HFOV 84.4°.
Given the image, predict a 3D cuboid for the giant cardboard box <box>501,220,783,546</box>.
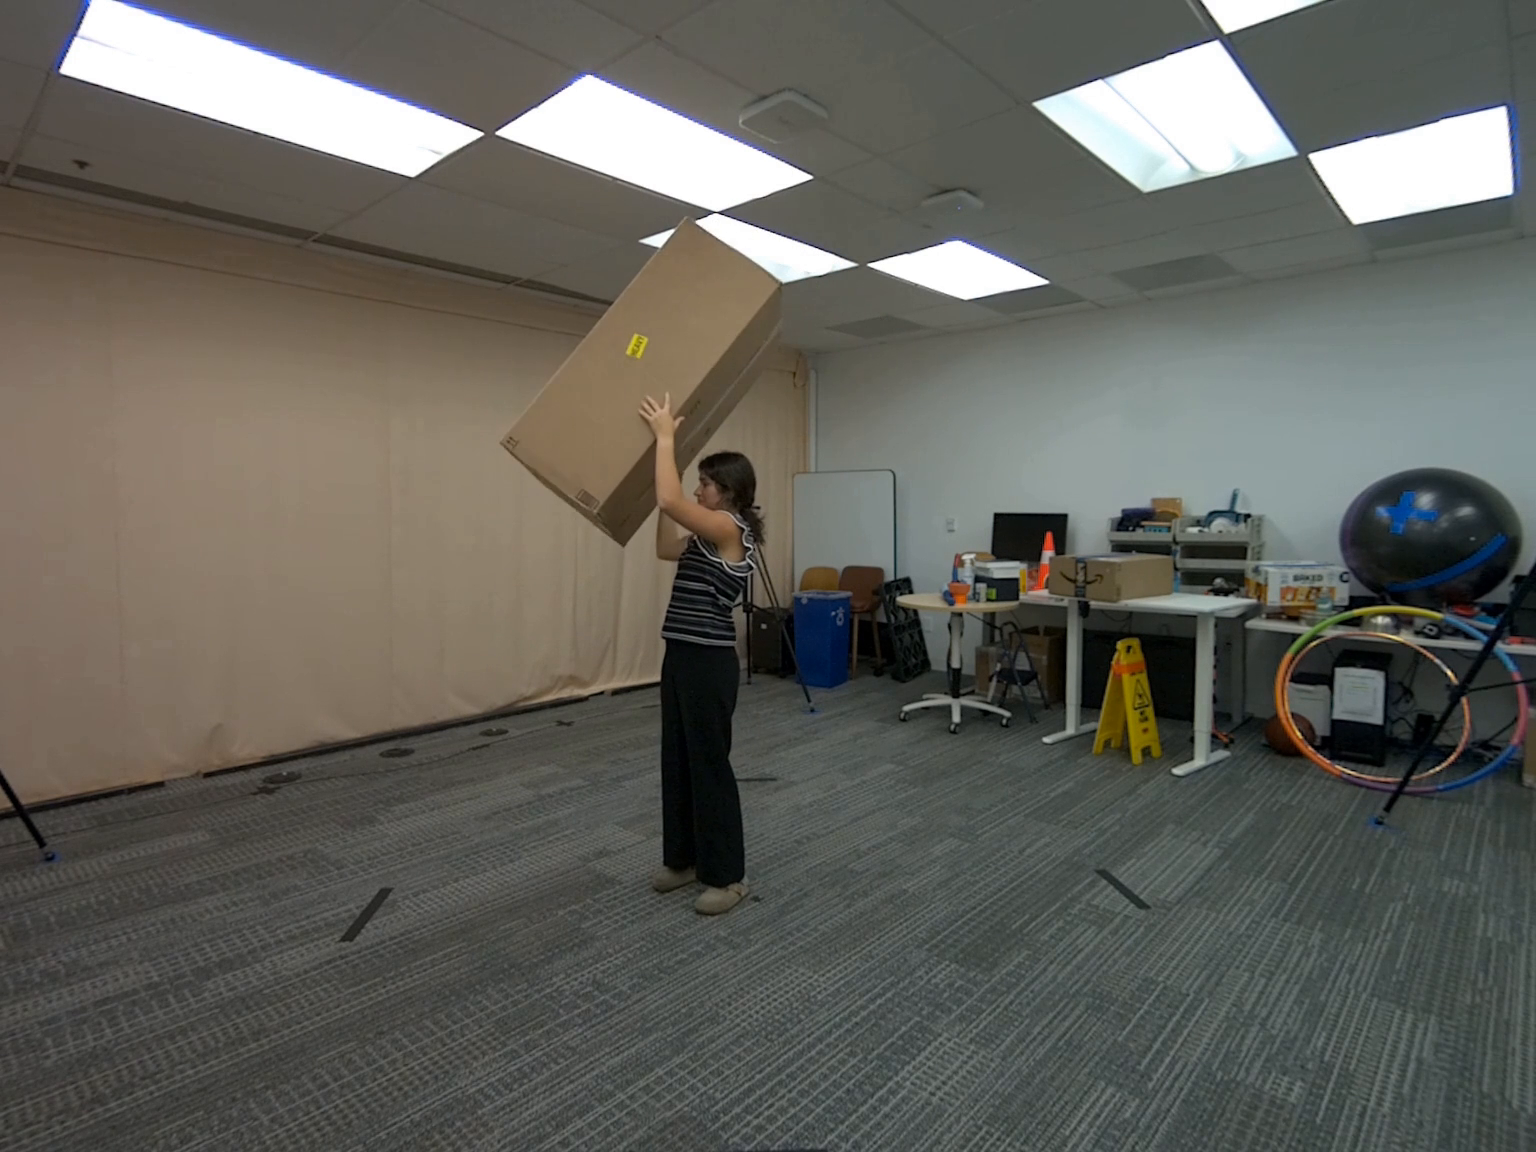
[{"bbox_3d":[-0.423,-0.675,3.103,0.431,1.024,0.572,37,-6,7],"label":"giant cardboard box"}]
